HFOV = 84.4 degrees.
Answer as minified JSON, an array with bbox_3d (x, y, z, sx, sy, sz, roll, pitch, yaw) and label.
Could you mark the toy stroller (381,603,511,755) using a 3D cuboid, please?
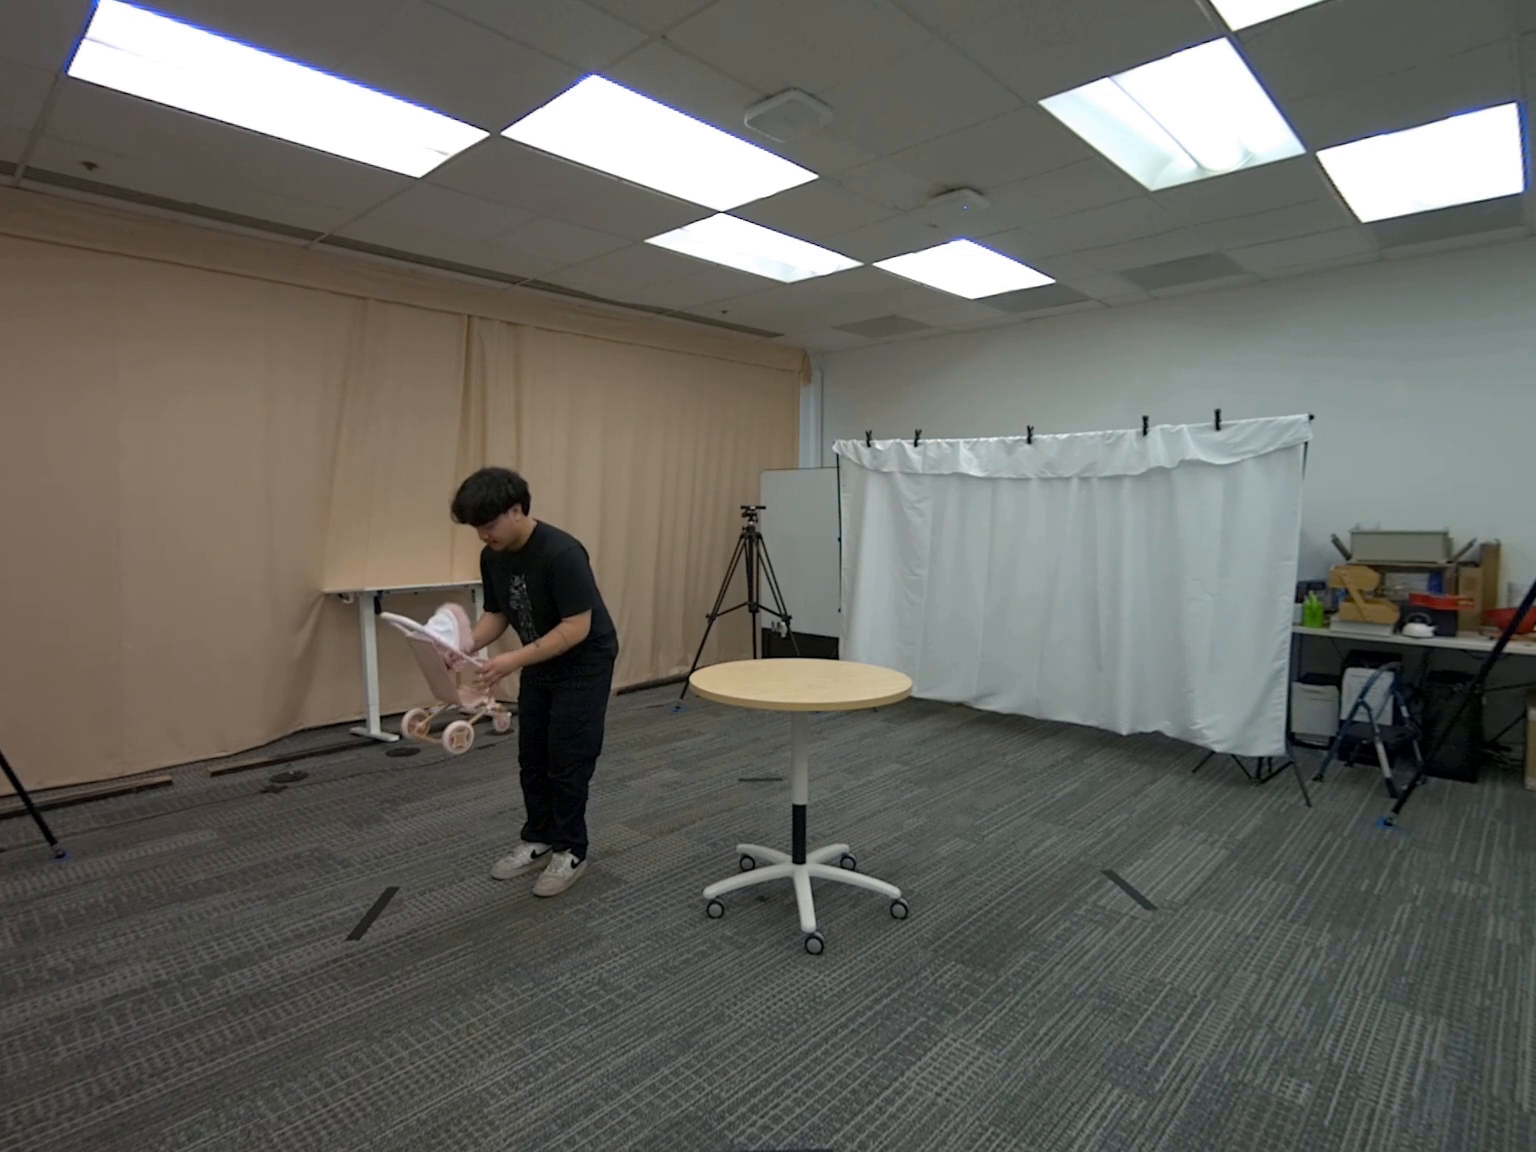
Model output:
[{"bbox_3d":[-1.036,0.336,2.821,0.291,0.529,0.333,4,19,44],"label":"toy stroller"}]
